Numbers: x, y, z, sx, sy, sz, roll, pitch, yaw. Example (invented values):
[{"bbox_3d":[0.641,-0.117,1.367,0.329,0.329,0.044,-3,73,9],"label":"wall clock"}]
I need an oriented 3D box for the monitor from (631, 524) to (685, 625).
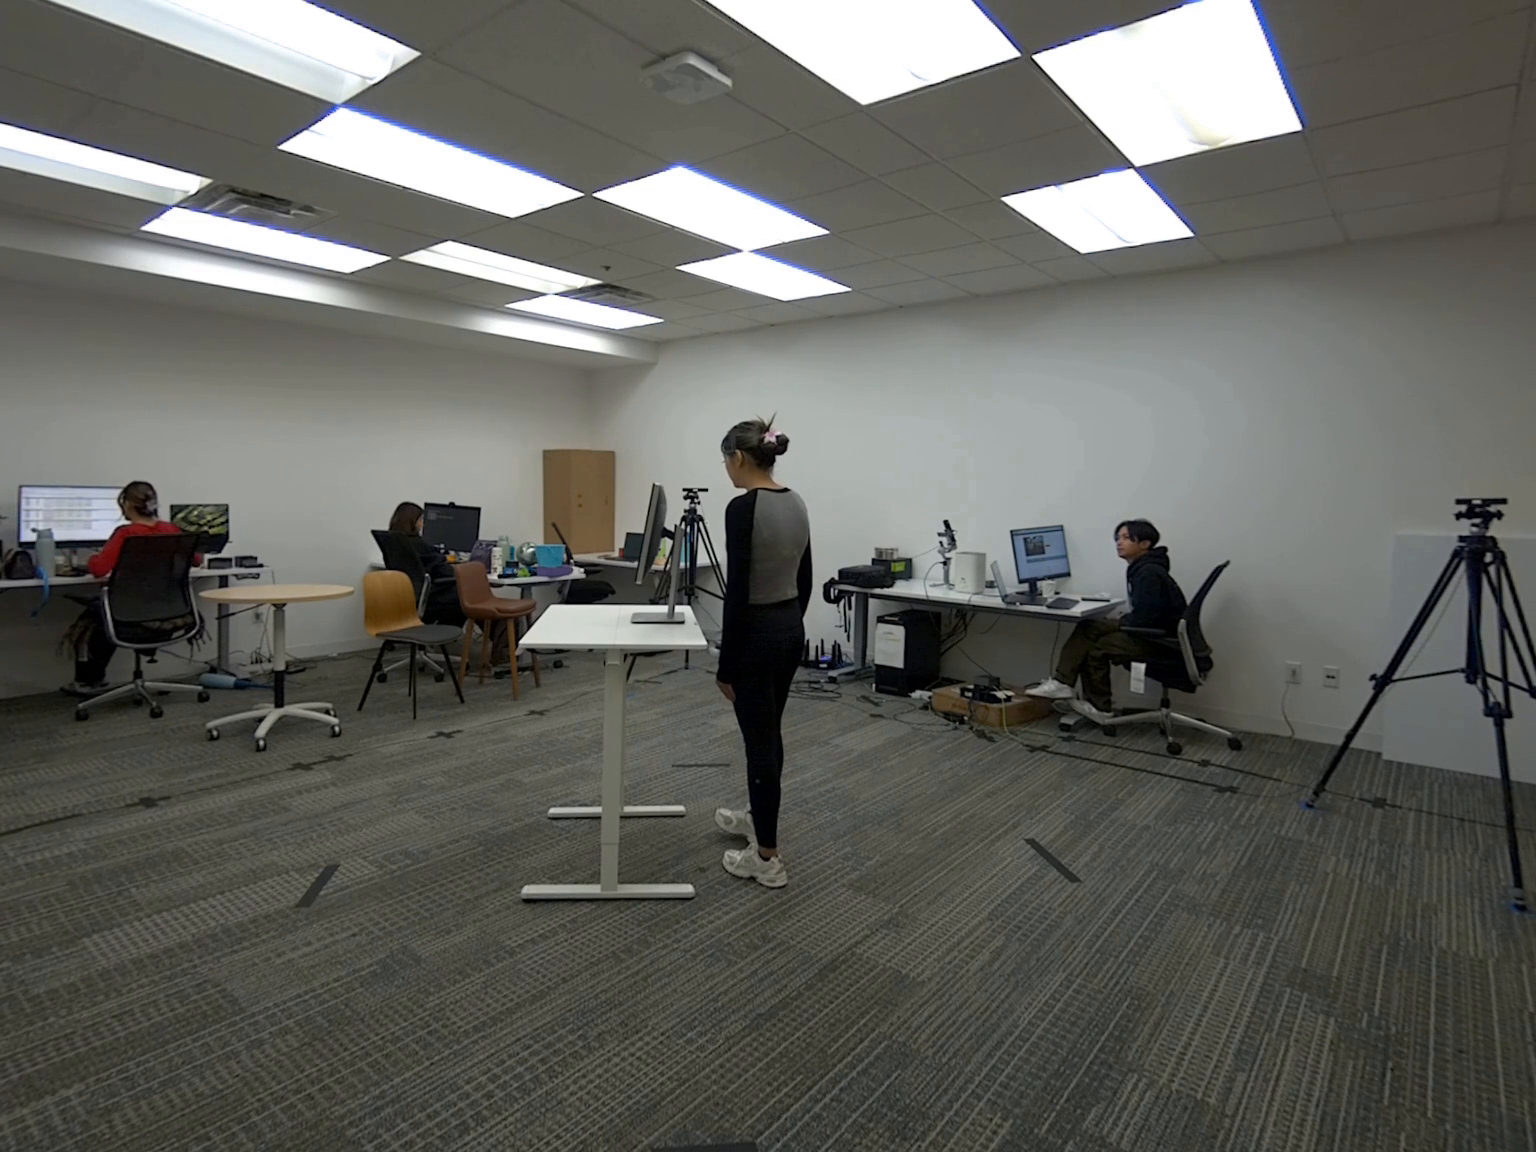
[{"bbox_3d":[-0.427,-0.091,3.283,0.186,0.521,0.544,-2,4,-7],"label":"monitor"}]
